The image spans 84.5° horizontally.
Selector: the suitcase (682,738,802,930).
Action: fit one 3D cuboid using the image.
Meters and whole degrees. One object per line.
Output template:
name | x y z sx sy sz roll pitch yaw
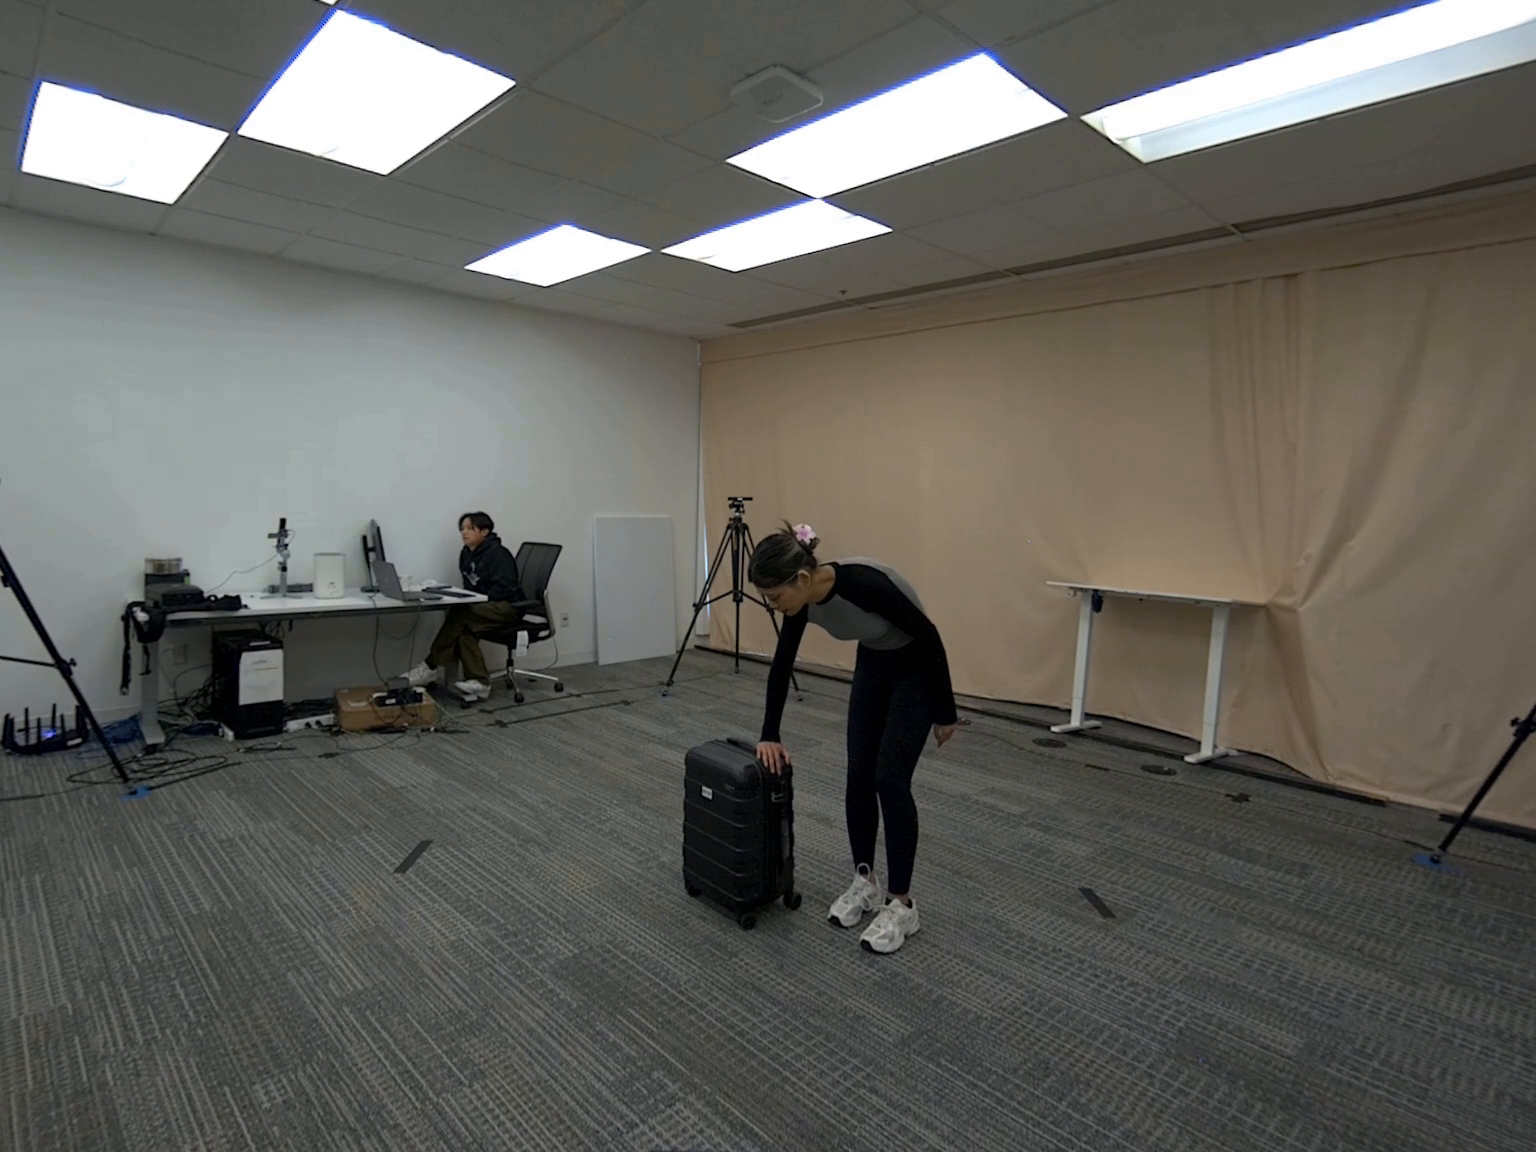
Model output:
suitcase | -0.112 0.854 2.889 0.243 0.547 0.385 -5 8 -38
